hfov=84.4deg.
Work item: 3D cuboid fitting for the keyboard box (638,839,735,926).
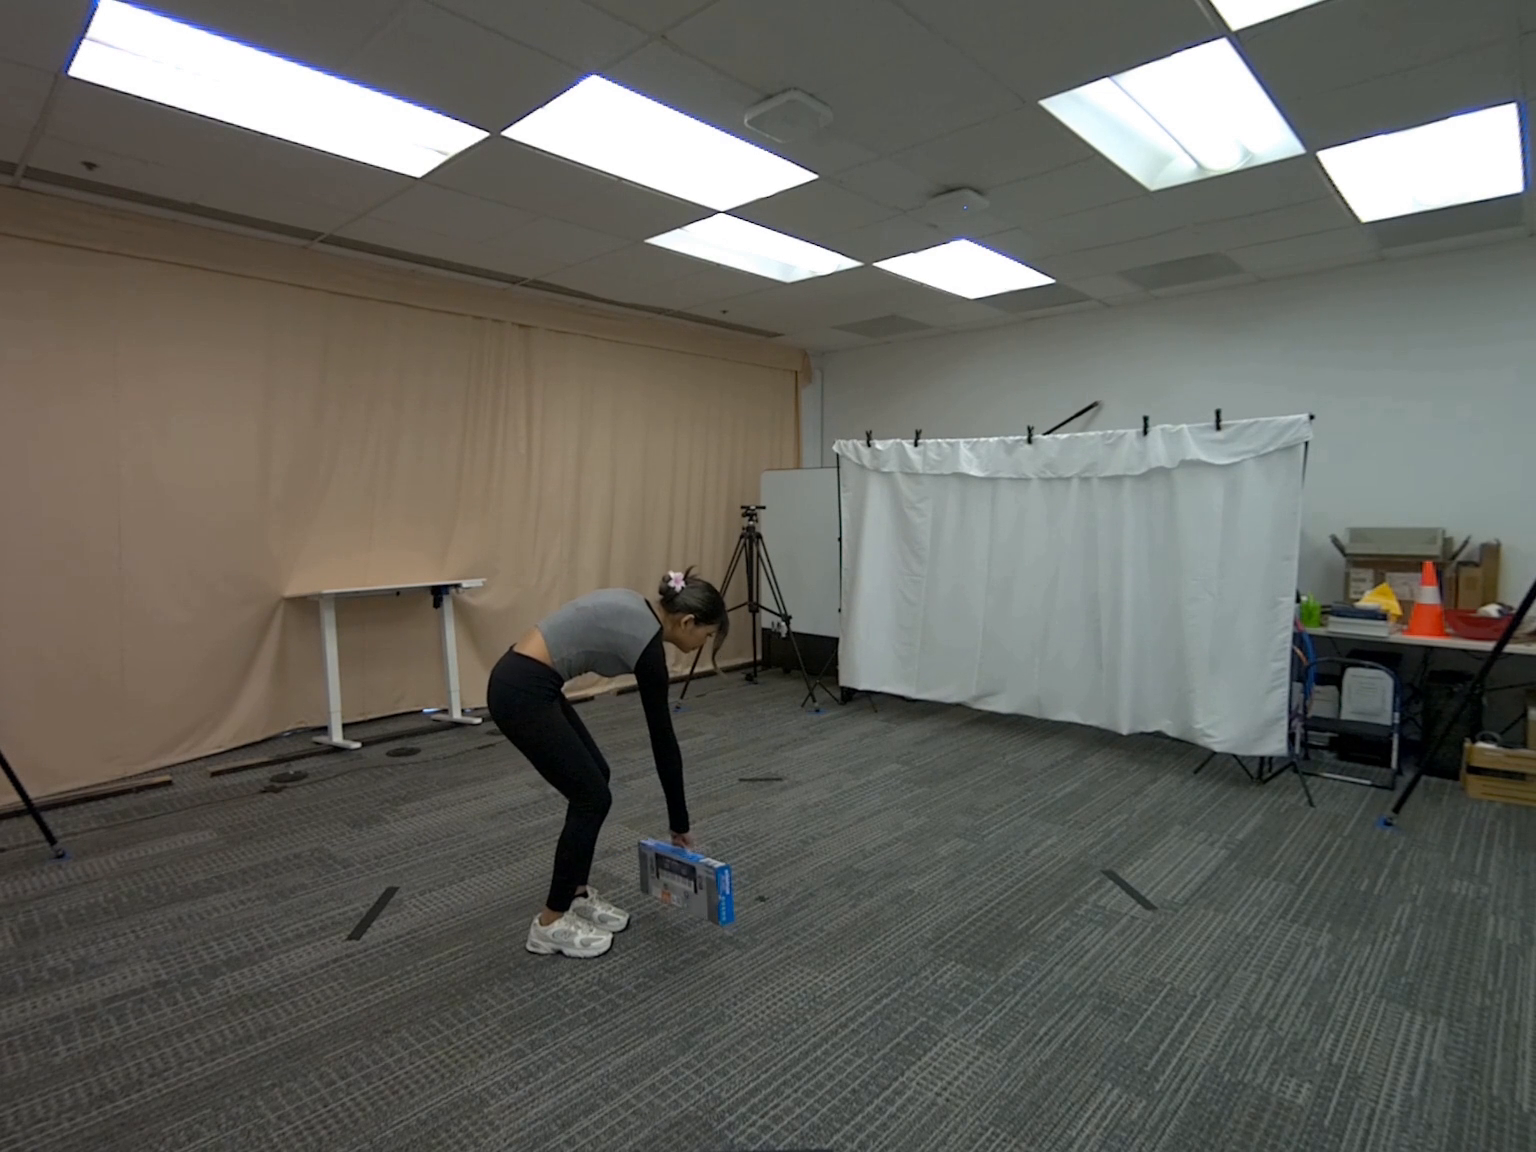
[{"bbox_3d":[-0.275,0.985,2.733,0.057,0.176,0.450,-3,-2,-41],"label":"keyboard box"}]
